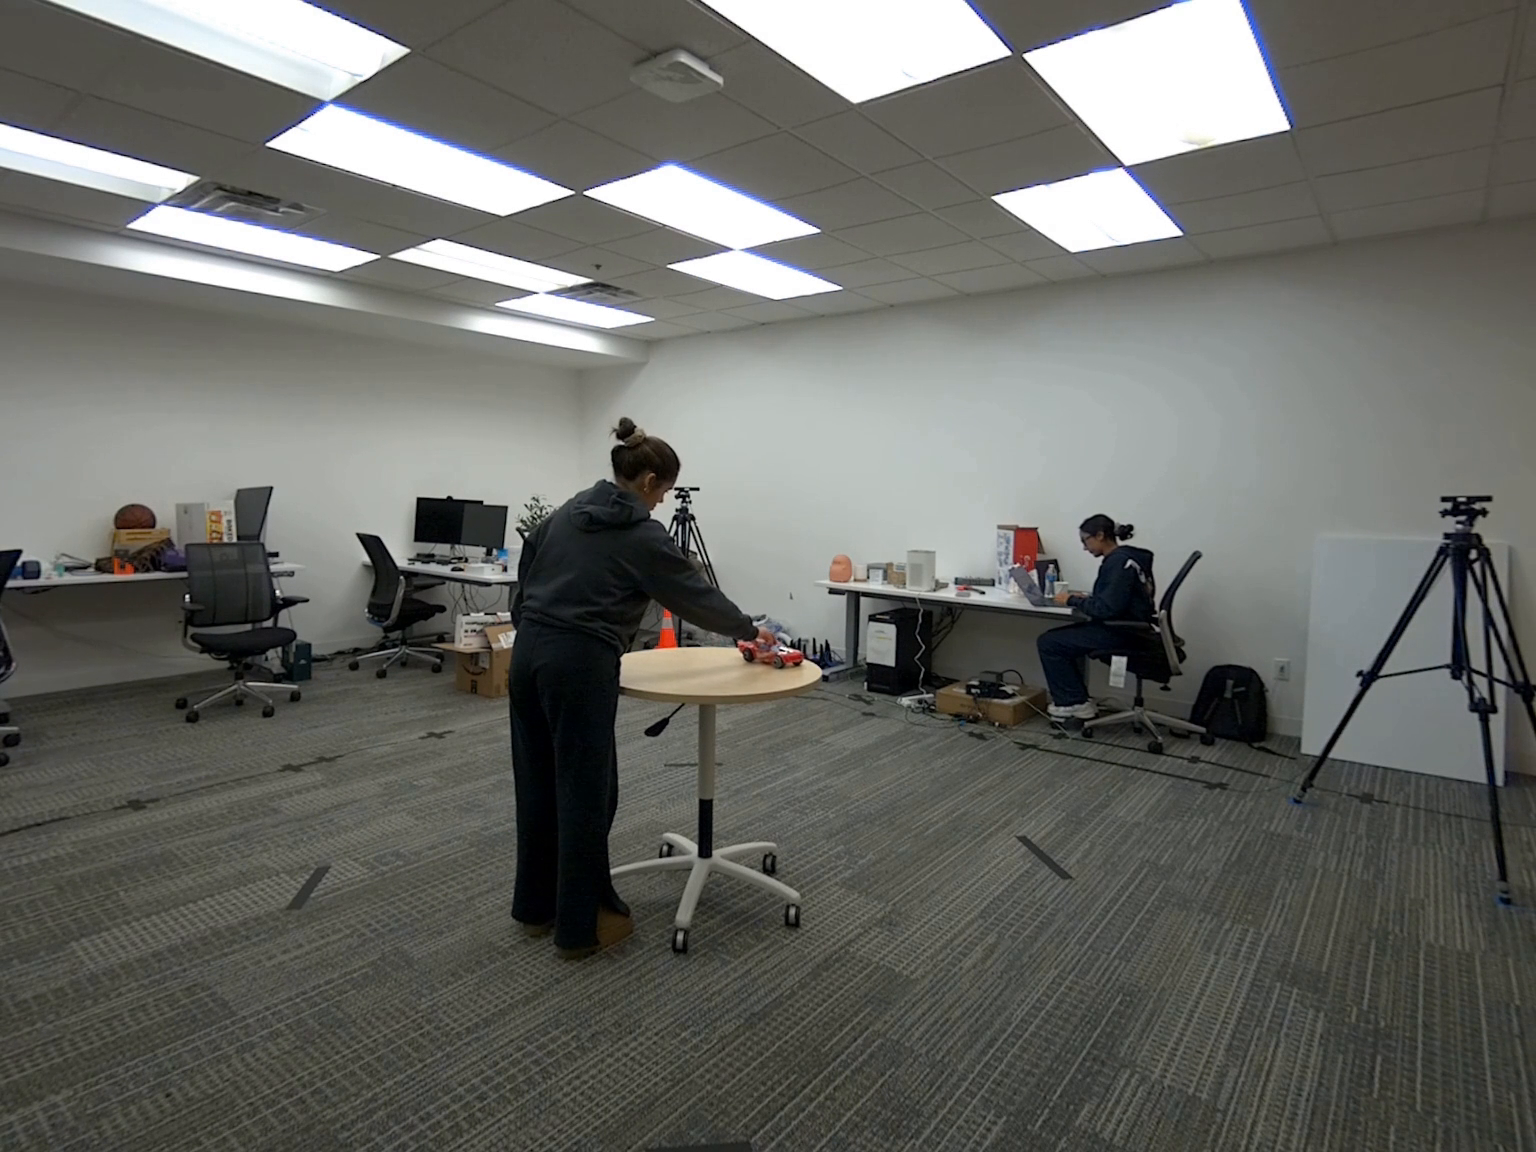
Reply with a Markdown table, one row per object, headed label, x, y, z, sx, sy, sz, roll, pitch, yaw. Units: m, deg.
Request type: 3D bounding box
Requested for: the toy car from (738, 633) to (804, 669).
| label | x | y | z | sx | sy | sz | roll | pitch | yaw |
| --- | --- | --- | --- | --- | --- | --- | --- | --- | --- |
| toy car | -0.005 | 0.266 | 2.975 | 0.126 | 0.082 | 0.265 | -4 | 17 | -42 |
